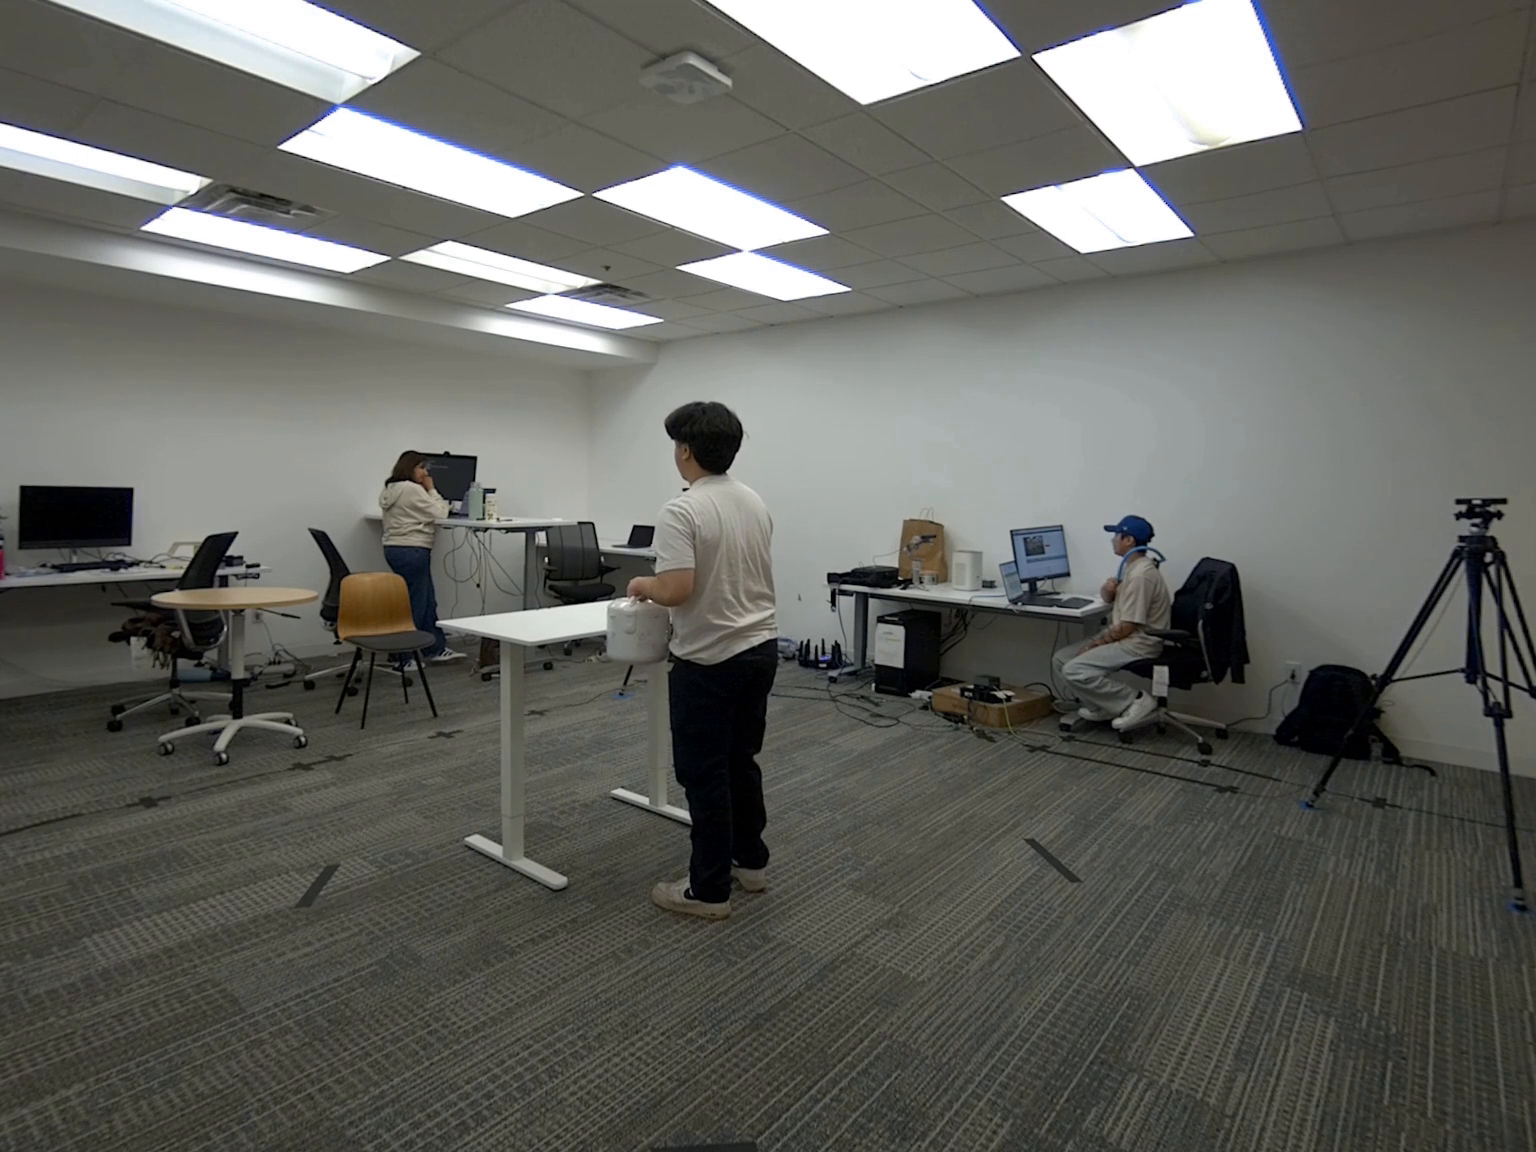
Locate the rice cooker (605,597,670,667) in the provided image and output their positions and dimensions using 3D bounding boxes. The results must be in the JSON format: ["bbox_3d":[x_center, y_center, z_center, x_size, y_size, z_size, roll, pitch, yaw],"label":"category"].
[{"bbox_3d":[-0.438,0.169,2.862,0.220,0.232,0.219,1,4,10],"label":"rice cooker"}]
